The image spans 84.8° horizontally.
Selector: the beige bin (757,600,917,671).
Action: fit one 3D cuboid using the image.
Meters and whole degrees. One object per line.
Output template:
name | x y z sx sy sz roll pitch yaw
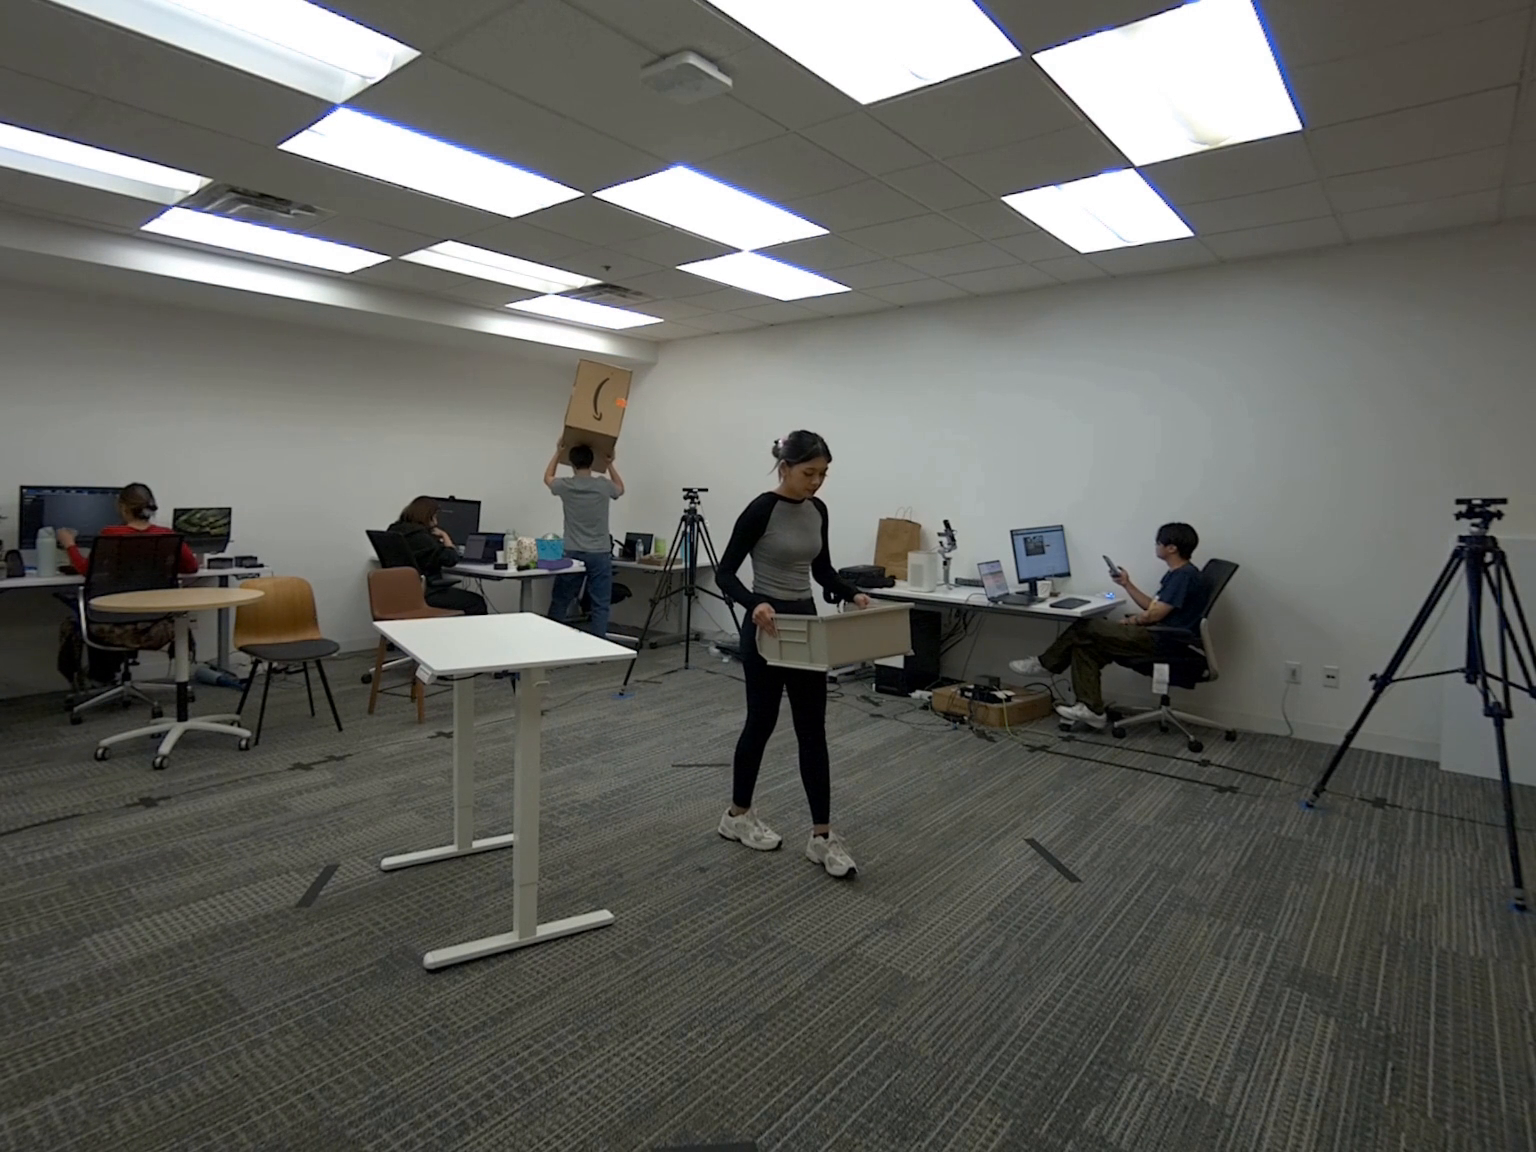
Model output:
beige bin | 0.232 0.197 2.993 0.410 0.189 0.388 -4 2 -35
